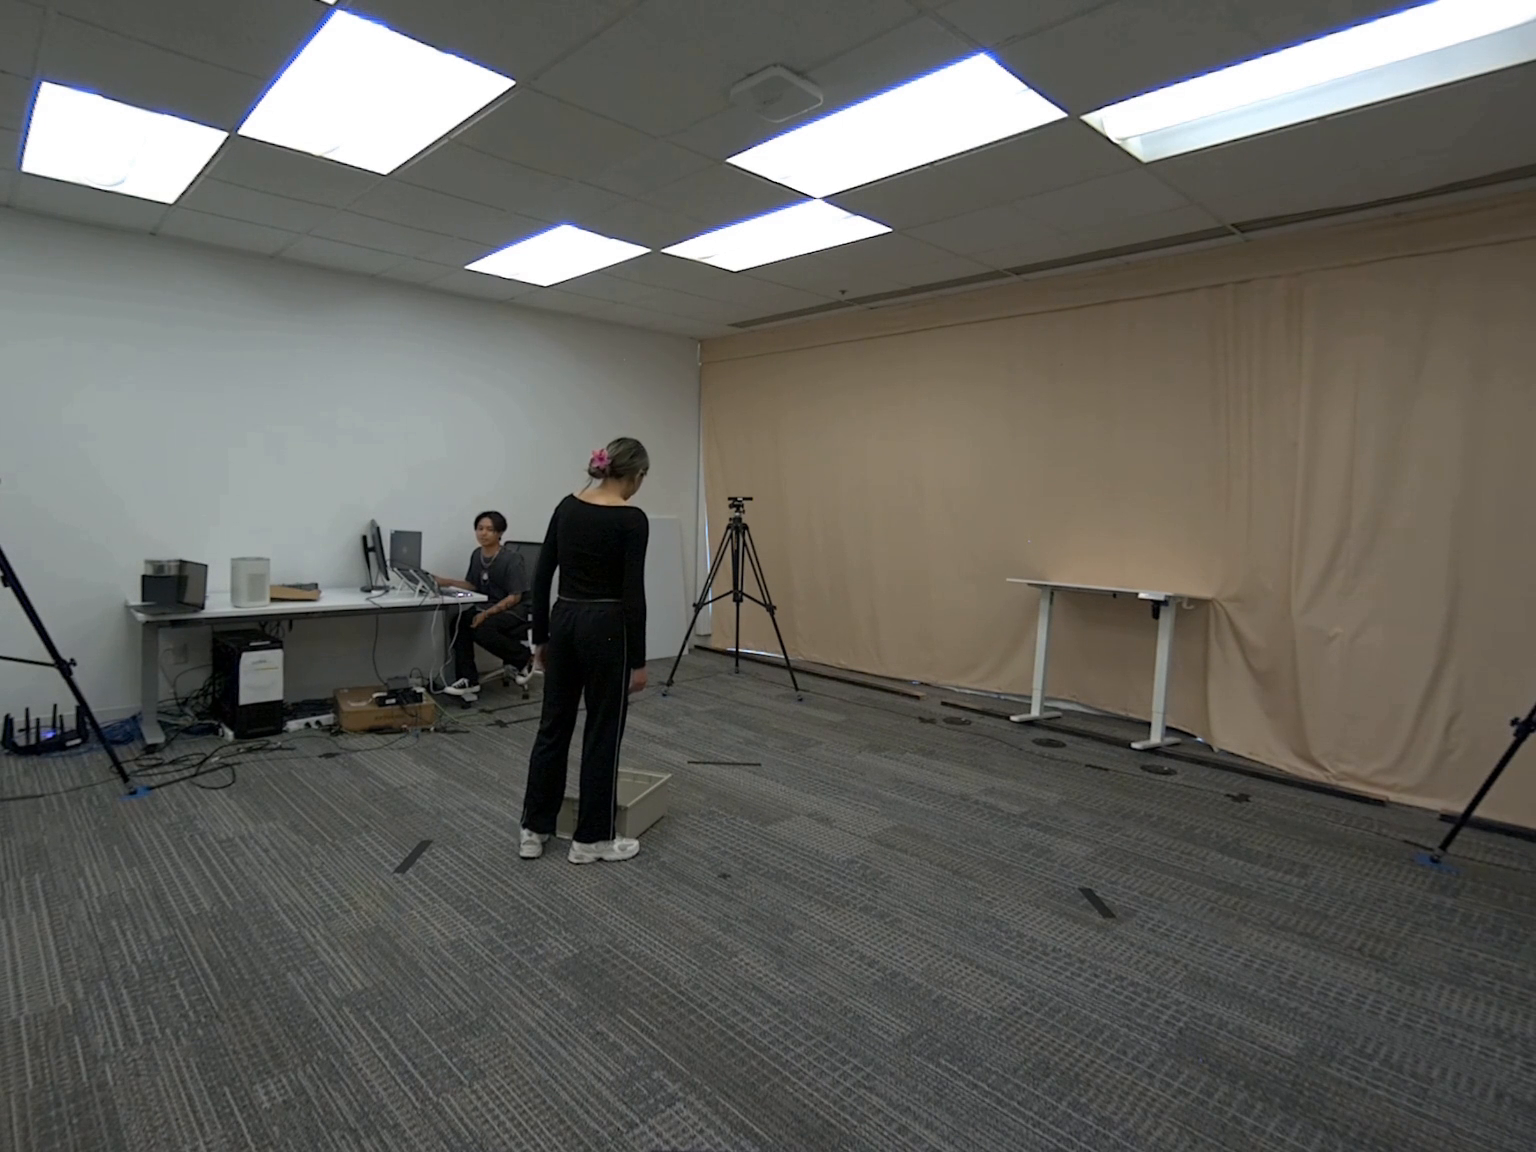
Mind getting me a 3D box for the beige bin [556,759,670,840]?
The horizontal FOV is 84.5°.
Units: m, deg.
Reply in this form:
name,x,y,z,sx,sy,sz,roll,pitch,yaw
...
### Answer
name,x,y,z,sx,sy,sz,roll,pitch,yaw
beige bin,-0.673,0.966,3.560,0.383,0.188,0.417,4,5,19
